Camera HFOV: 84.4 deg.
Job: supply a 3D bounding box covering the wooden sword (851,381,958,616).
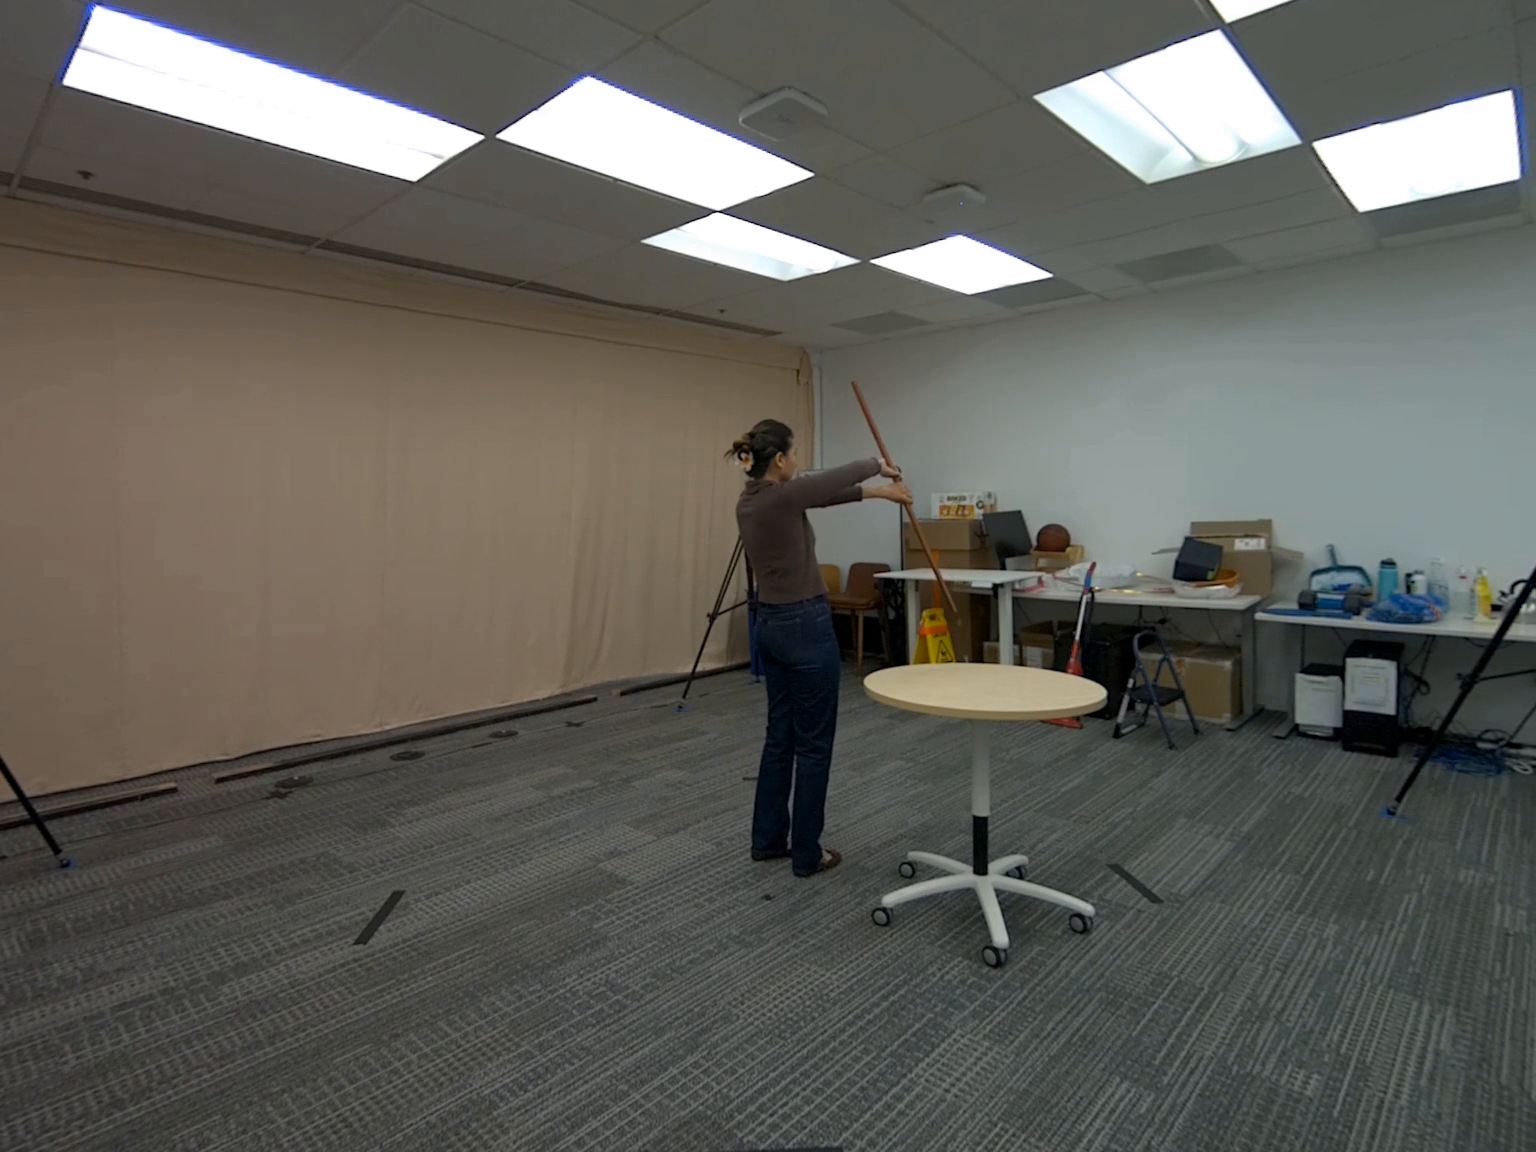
[{"bbox_3d":[0.558,-0.351,3.419,0.023,1.035,0.052,-14,-13,-42],"label":"wooden sword"}]
